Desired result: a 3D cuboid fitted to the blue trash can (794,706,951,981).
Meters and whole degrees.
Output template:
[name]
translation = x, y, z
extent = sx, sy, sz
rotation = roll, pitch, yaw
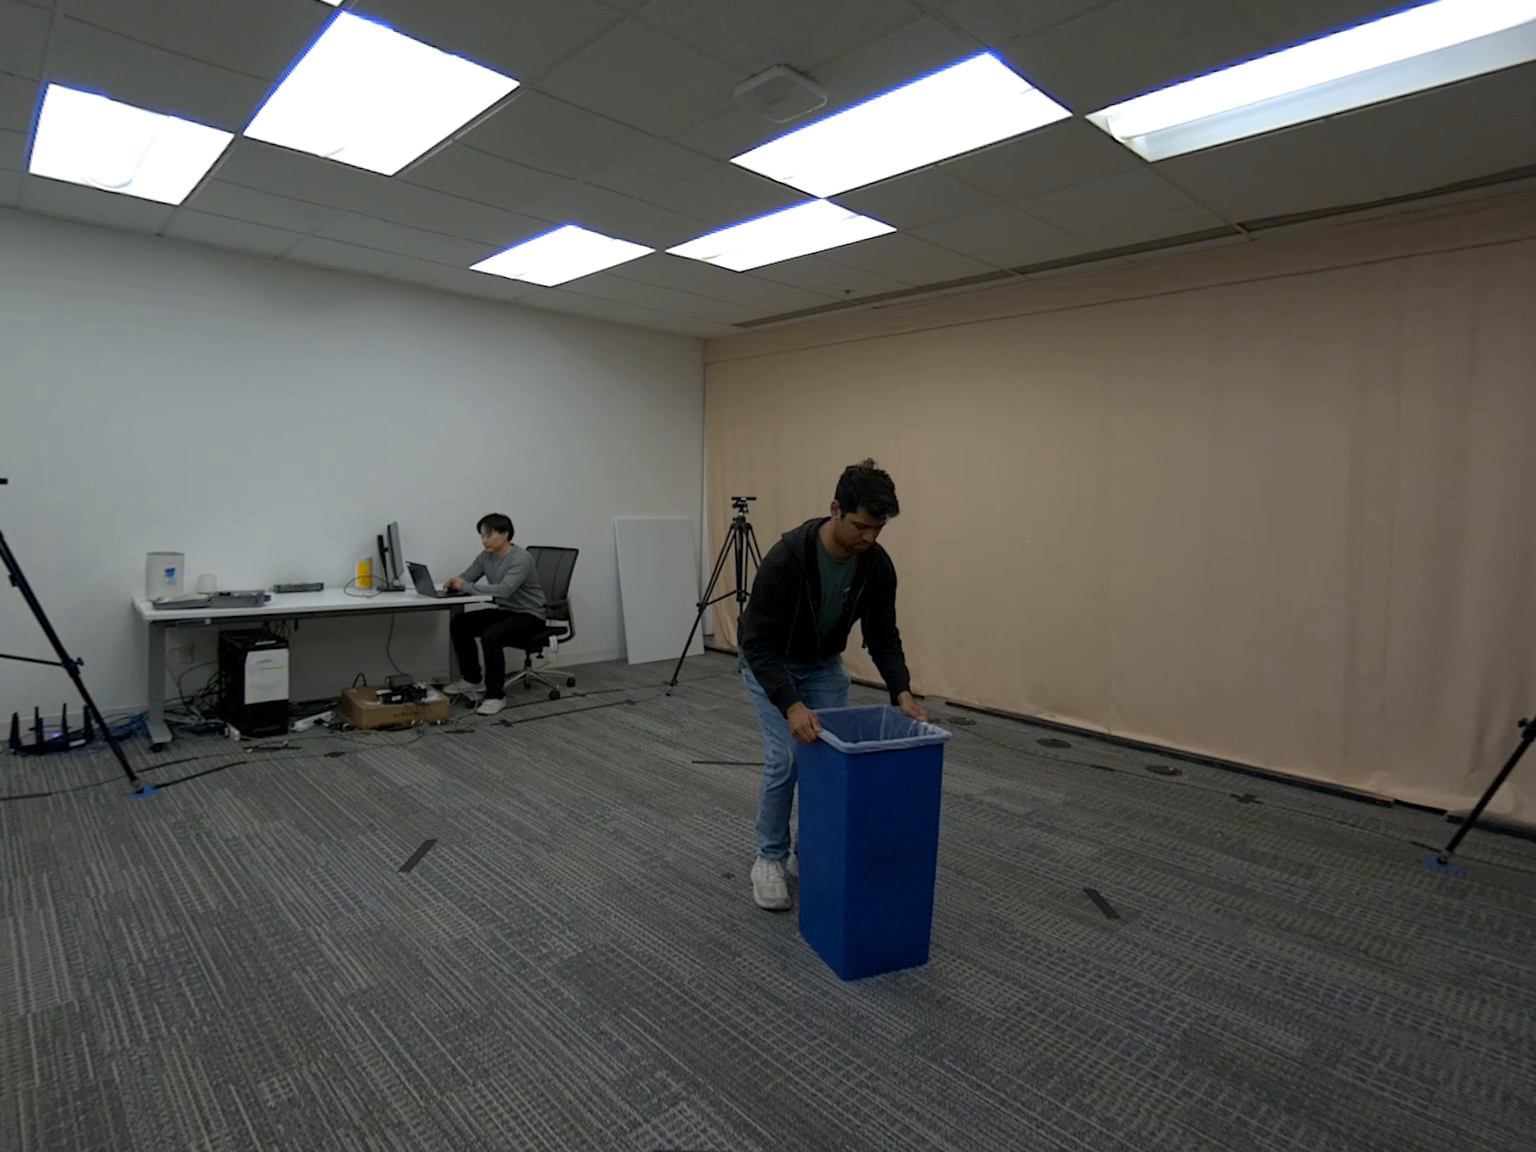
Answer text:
[blue trash can]
translation = 0.294, 0.805, 2.601
extent = 0.367, 0.712, 0.385
rotation = 0, 4, -24
